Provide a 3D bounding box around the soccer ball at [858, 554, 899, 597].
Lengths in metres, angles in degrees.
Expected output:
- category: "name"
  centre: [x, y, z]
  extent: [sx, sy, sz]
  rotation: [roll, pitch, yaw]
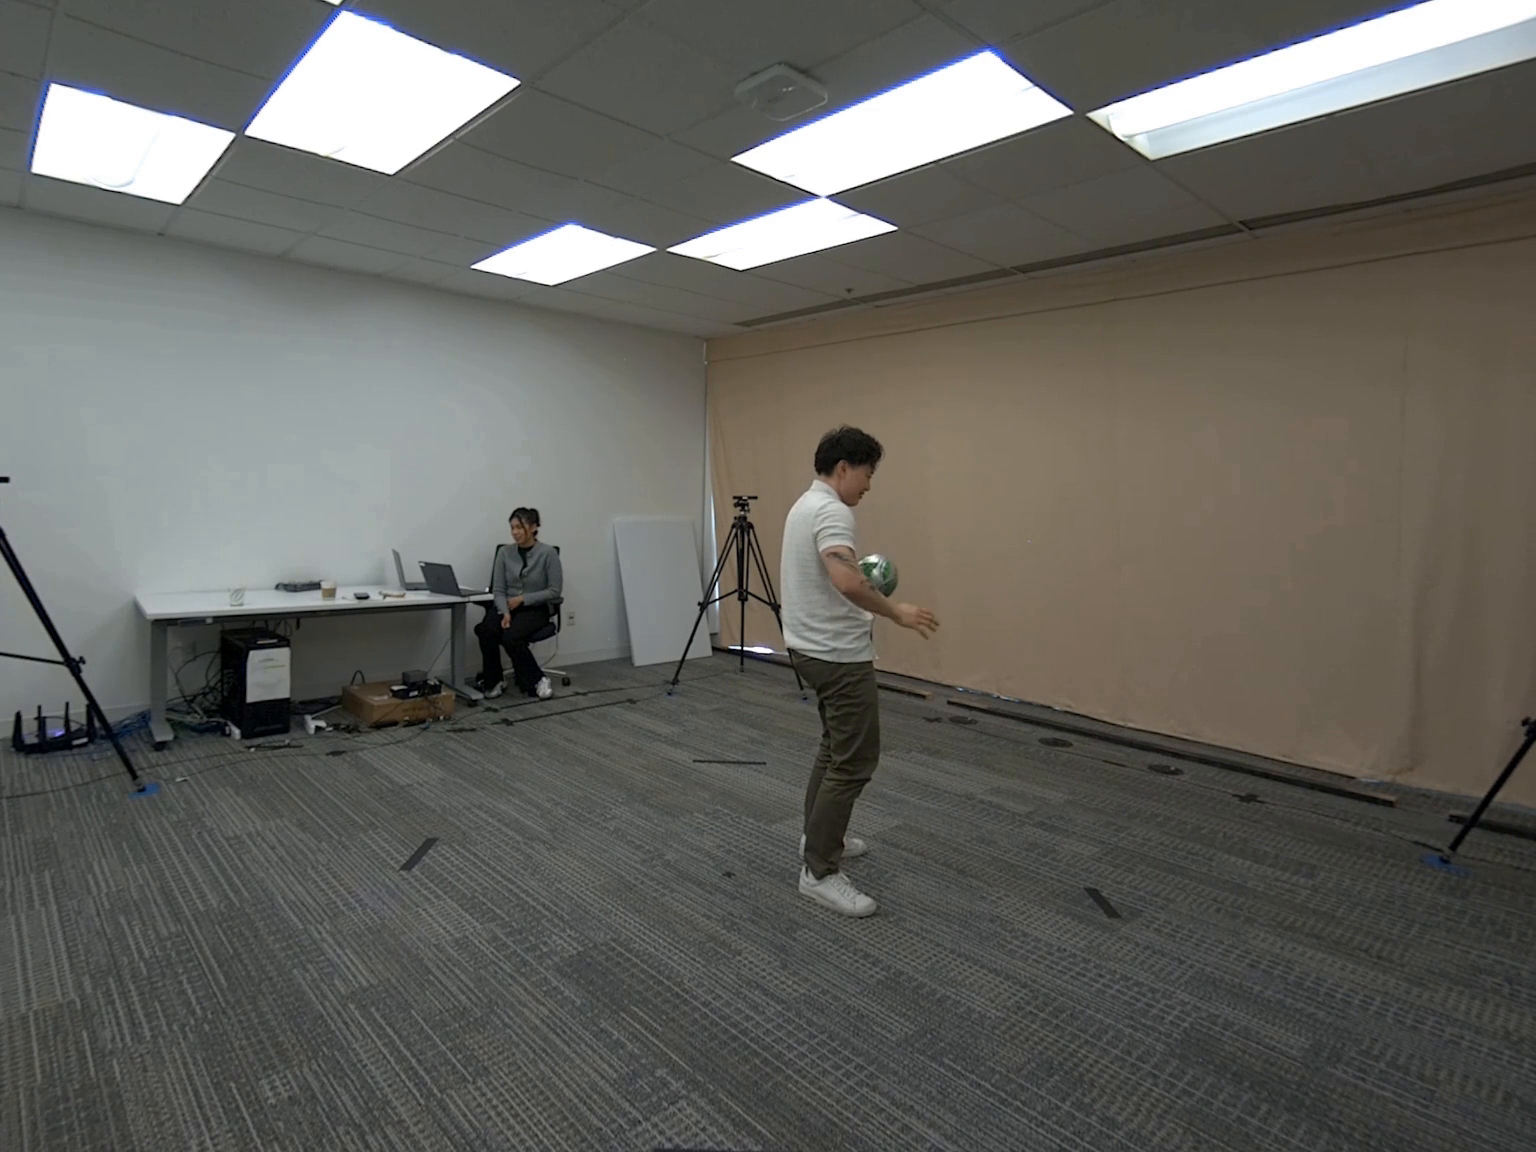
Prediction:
- category: "soccer ball"
  centre: [0.417, 0.001, 3.329]
  extent: [0.187, 0.187, 0.188]
  rotation: [1, 4, -1]
